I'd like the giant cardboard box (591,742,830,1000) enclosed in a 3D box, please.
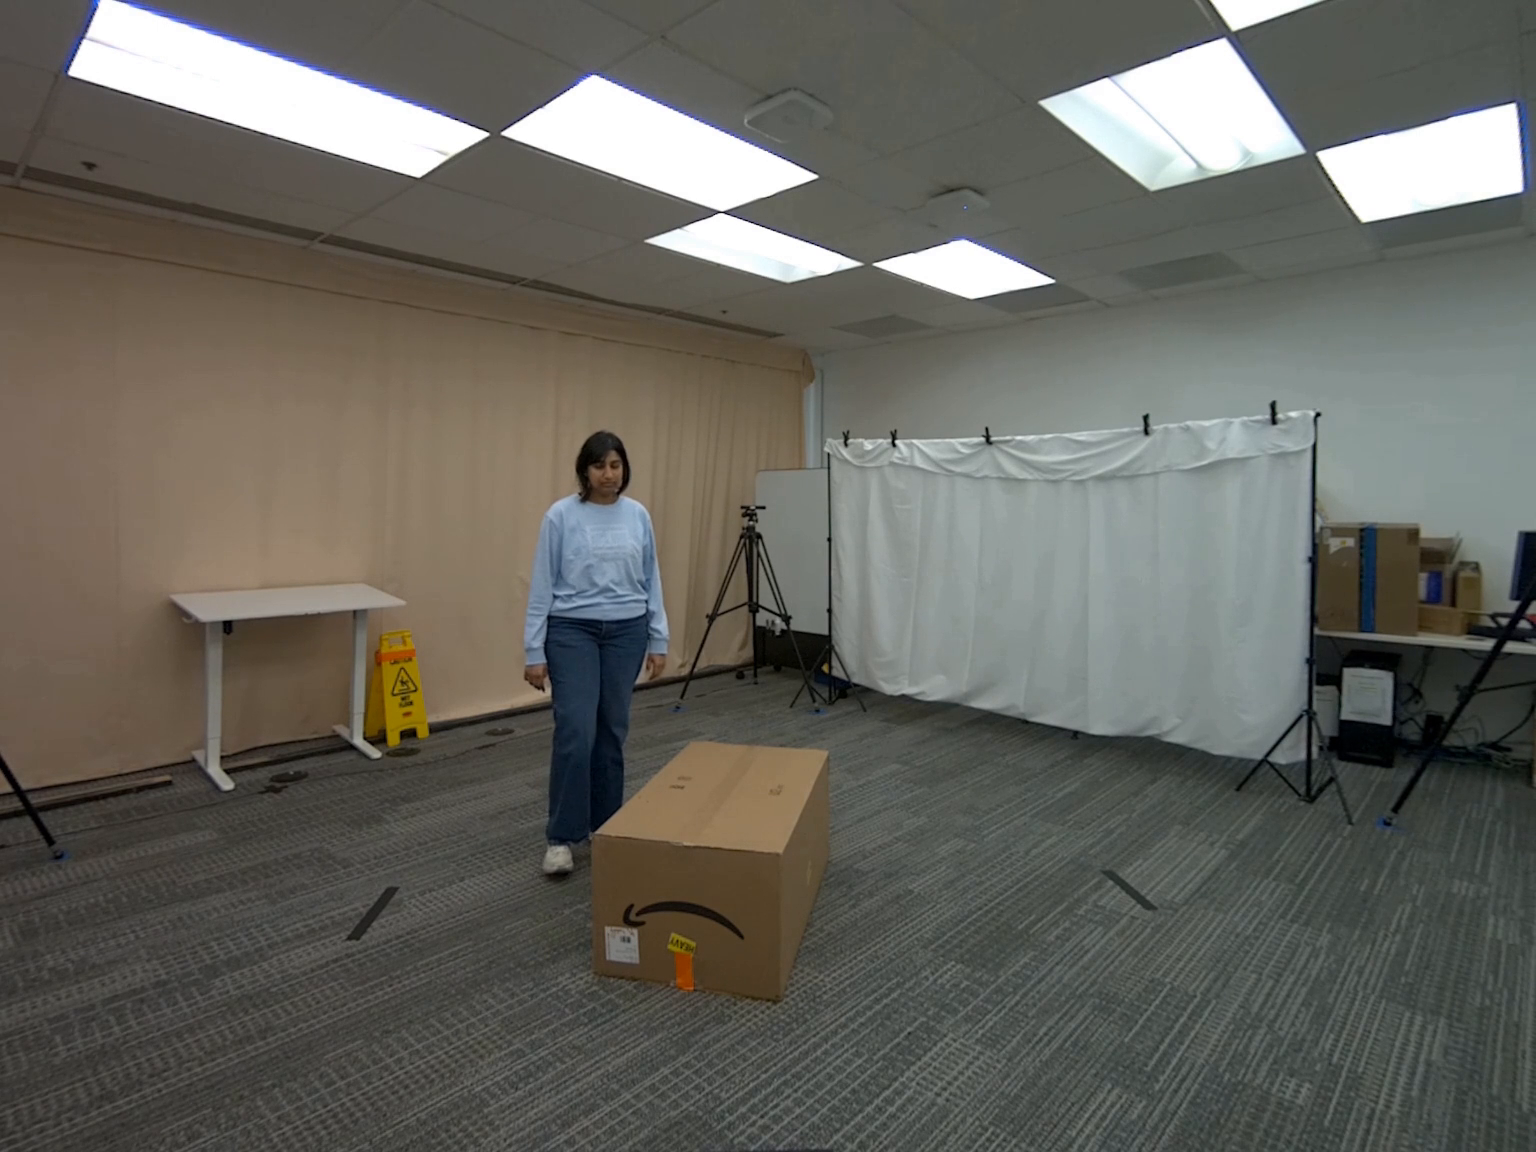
[{"bbox_3d":[-0.134,0.933,2.906,0.586,0.425,1.013,0,5,13],"label":"giant cardboard box"}]
